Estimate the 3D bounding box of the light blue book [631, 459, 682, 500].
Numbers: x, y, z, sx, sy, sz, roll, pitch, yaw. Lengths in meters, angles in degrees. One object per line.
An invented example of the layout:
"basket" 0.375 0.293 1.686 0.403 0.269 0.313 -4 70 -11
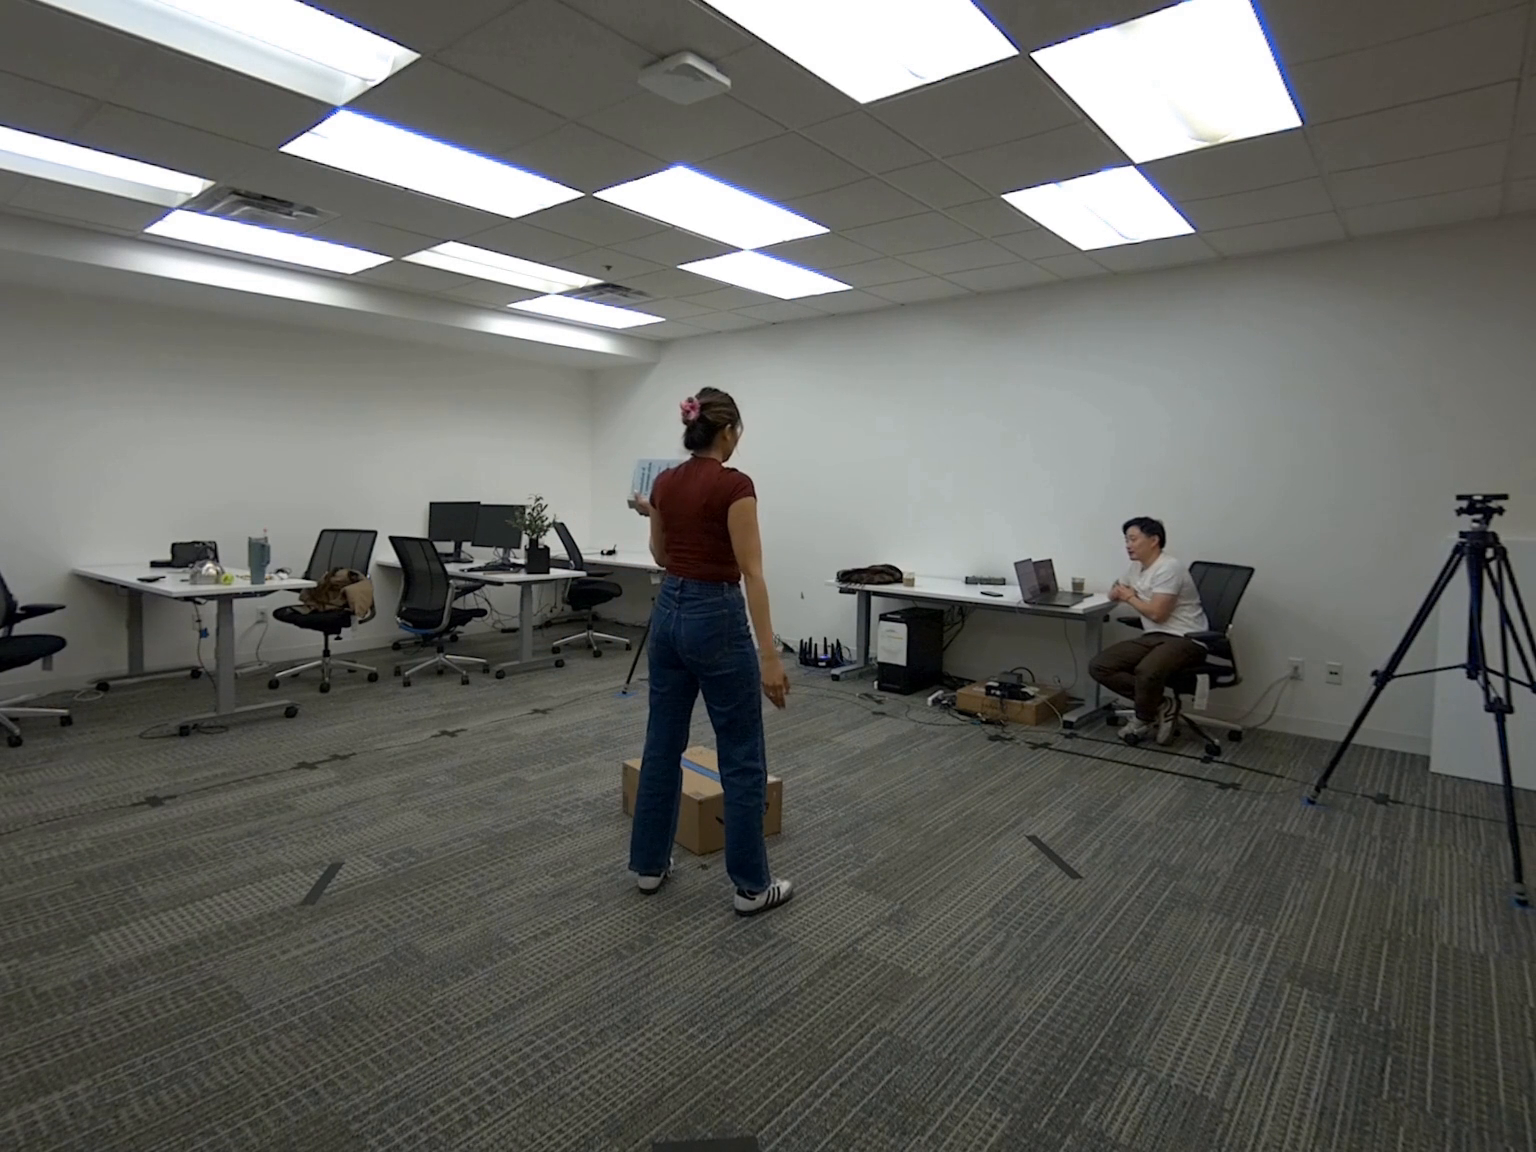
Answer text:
"light blue book" -0.426 -0.358 3.318 0.263 0.195 0.057 3 -26 6
